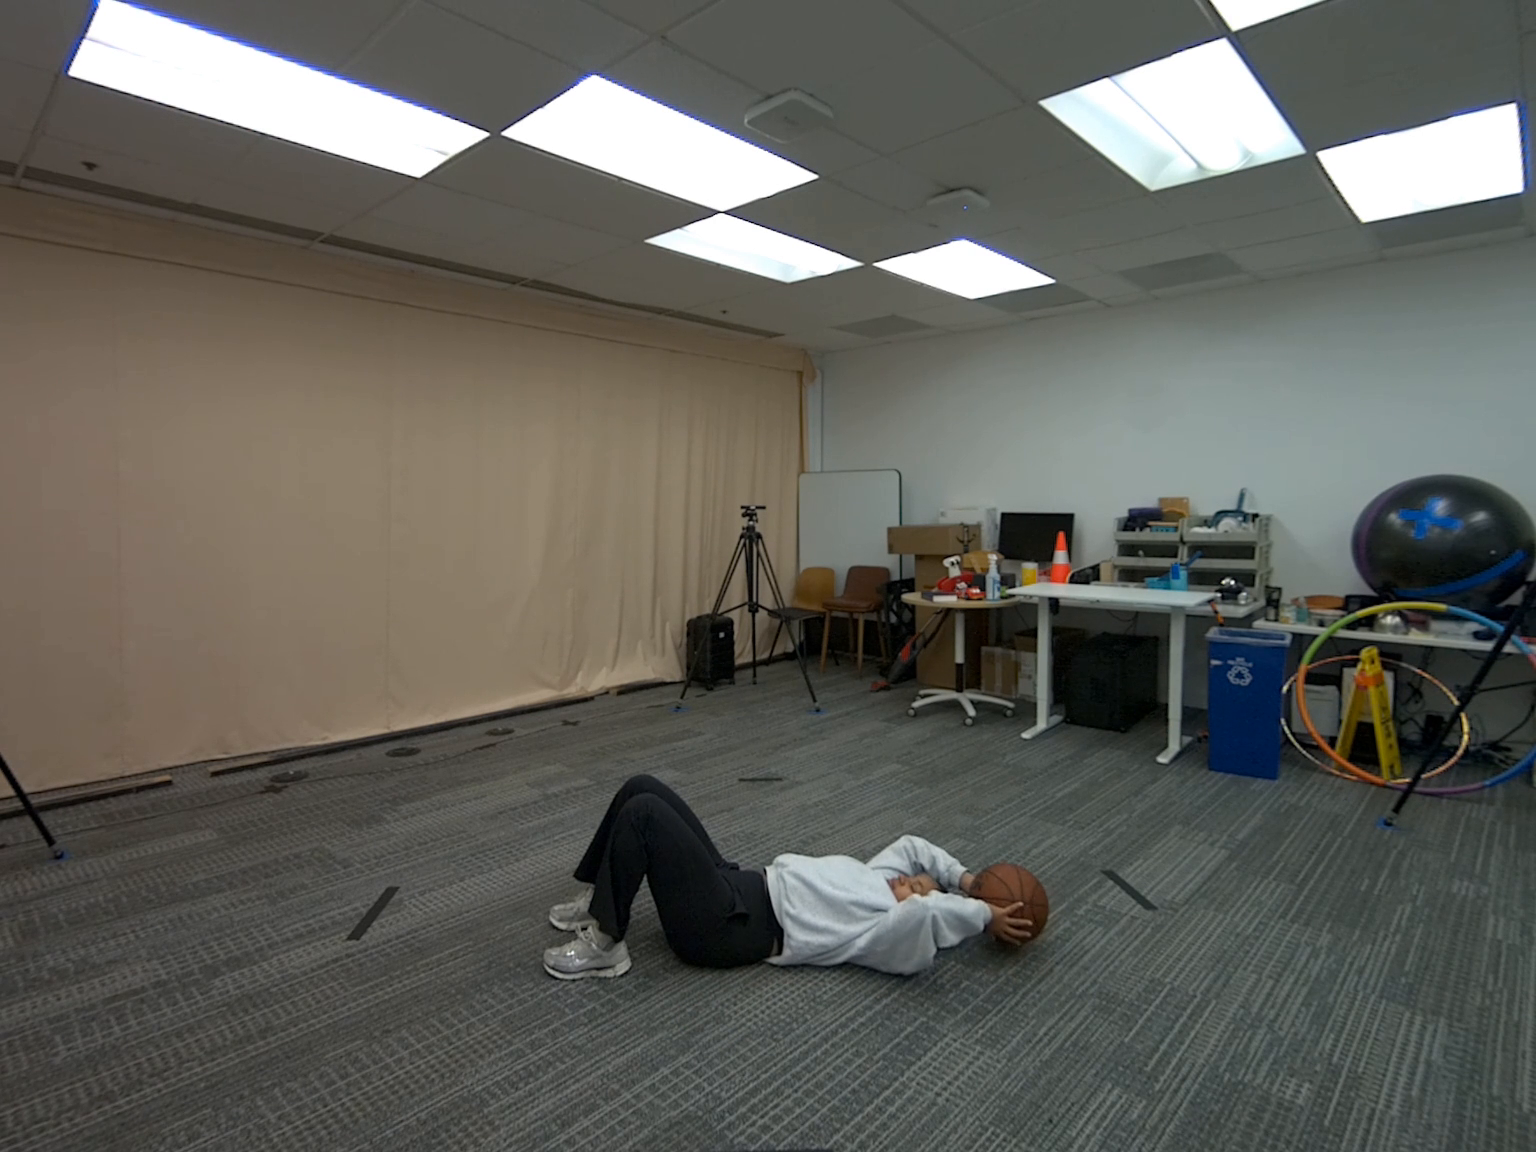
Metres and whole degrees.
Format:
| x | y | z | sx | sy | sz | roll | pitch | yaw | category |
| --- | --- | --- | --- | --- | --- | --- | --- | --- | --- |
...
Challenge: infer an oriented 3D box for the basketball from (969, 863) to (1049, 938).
| x | y | z | sx | sy | sz | roll | pitch | yaw | category |
| --- | --- | --- | --- | --- | --- | --- | --- | --- | --- |
| 0.757 | 1.019 | 2.639 | 0.236 | 0.235 | 0.237 | 0 | 4 | -2 | basketball |
